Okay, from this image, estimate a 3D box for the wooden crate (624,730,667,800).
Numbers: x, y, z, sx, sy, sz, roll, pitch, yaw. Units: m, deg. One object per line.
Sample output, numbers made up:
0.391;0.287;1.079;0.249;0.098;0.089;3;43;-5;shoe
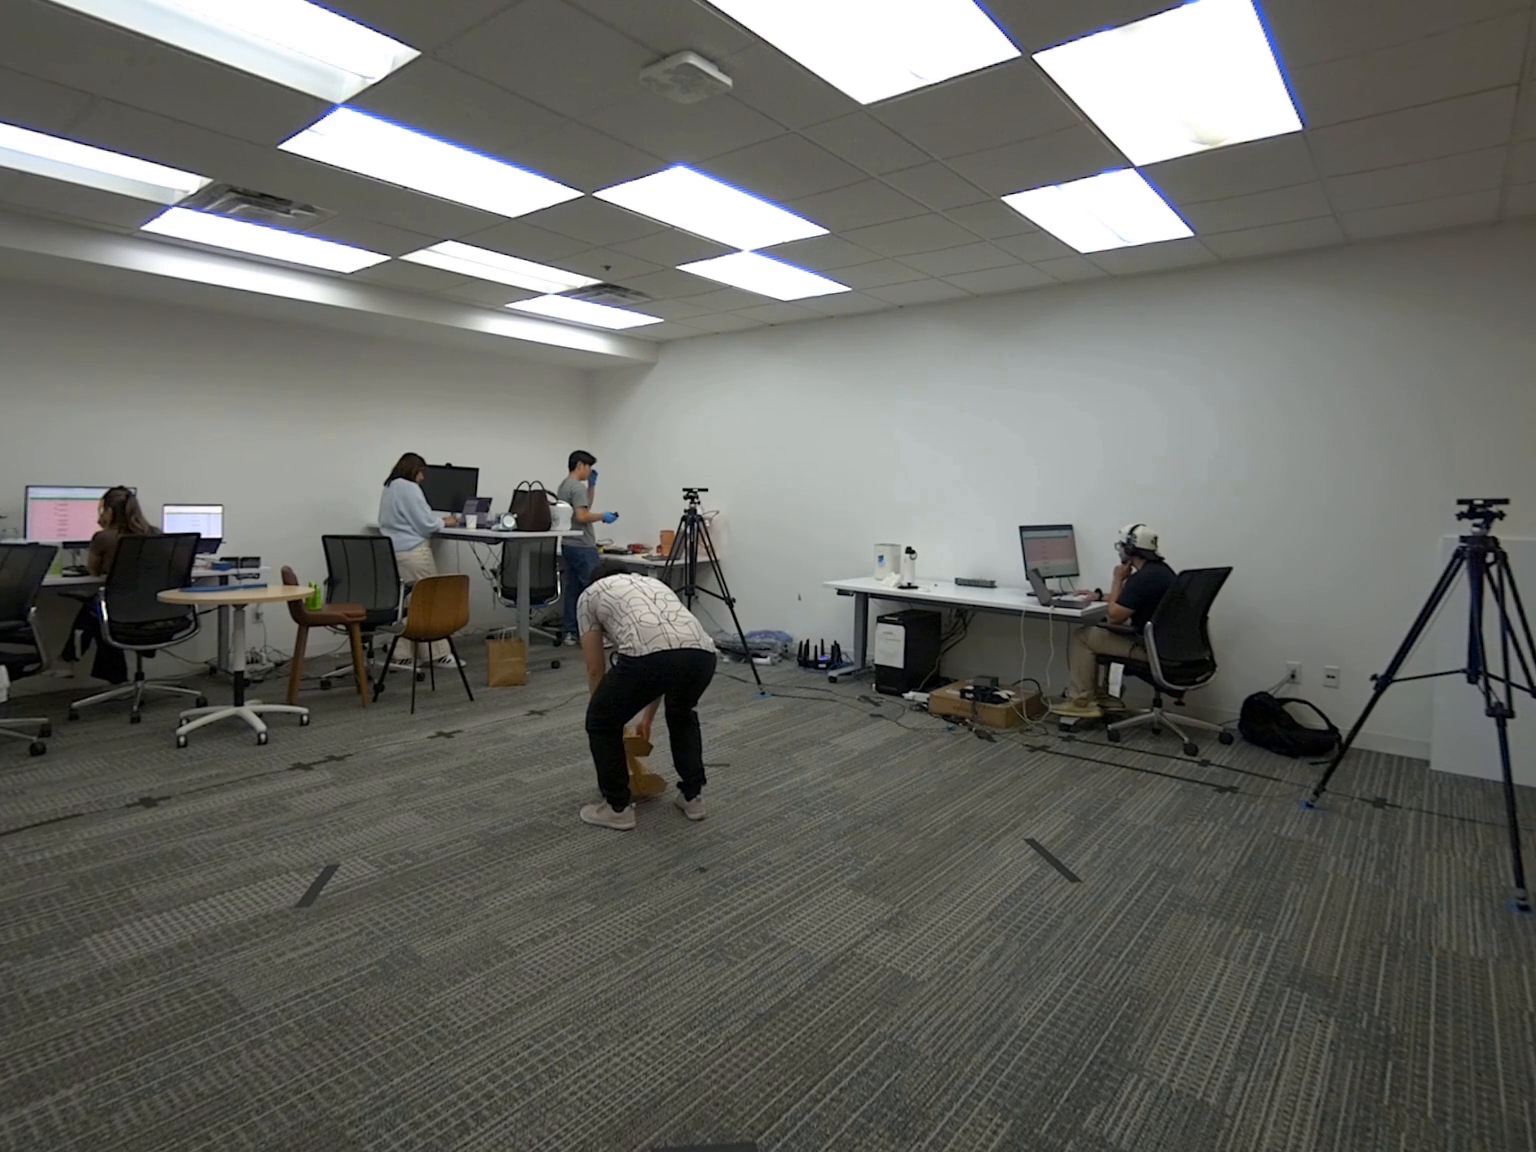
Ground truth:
-0.642;0.818;3.879;0.294;0.273;0.333;4;0;-28;wooden crate
